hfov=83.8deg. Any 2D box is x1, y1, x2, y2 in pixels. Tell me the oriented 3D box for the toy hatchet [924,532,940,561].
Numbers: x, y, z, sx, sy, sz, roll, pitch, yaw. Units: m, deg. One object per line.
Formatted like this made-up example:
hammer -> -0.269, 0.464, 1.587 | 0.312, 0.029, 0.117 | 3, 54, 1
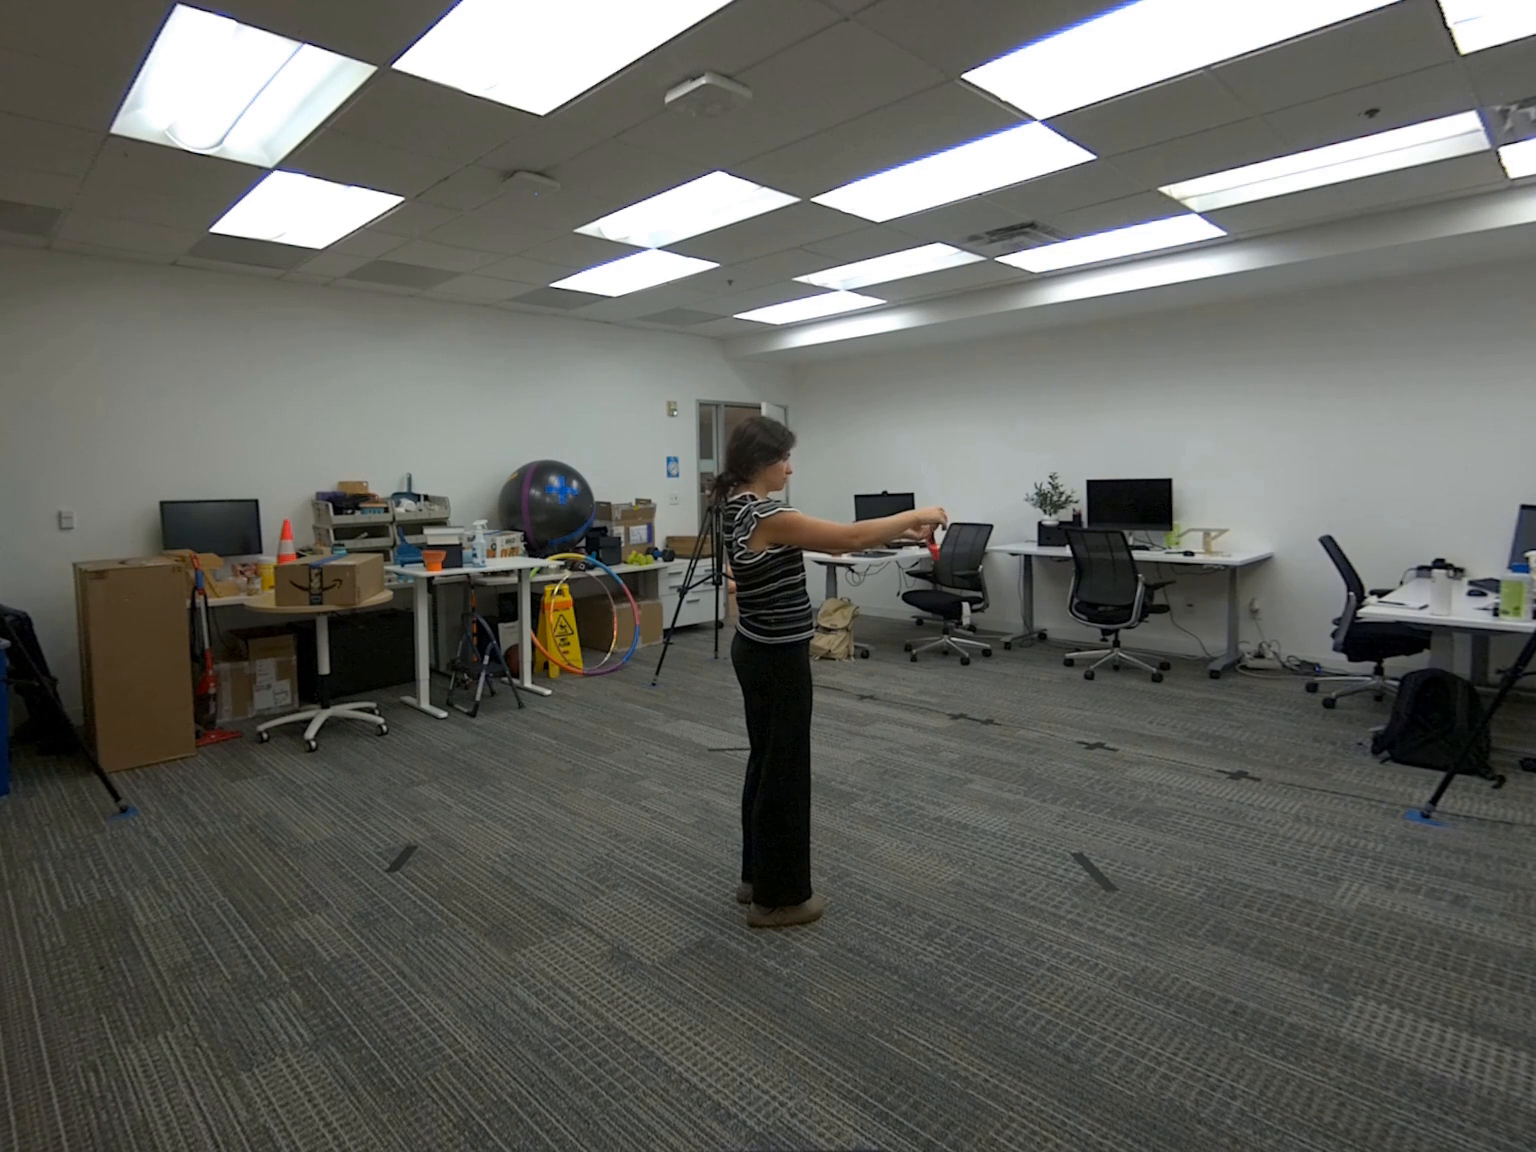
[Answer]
toy hatchet -> 0.562, -0.127, 2.831 | 0.029, 0.132, 0.268 | -11, -6, -2
